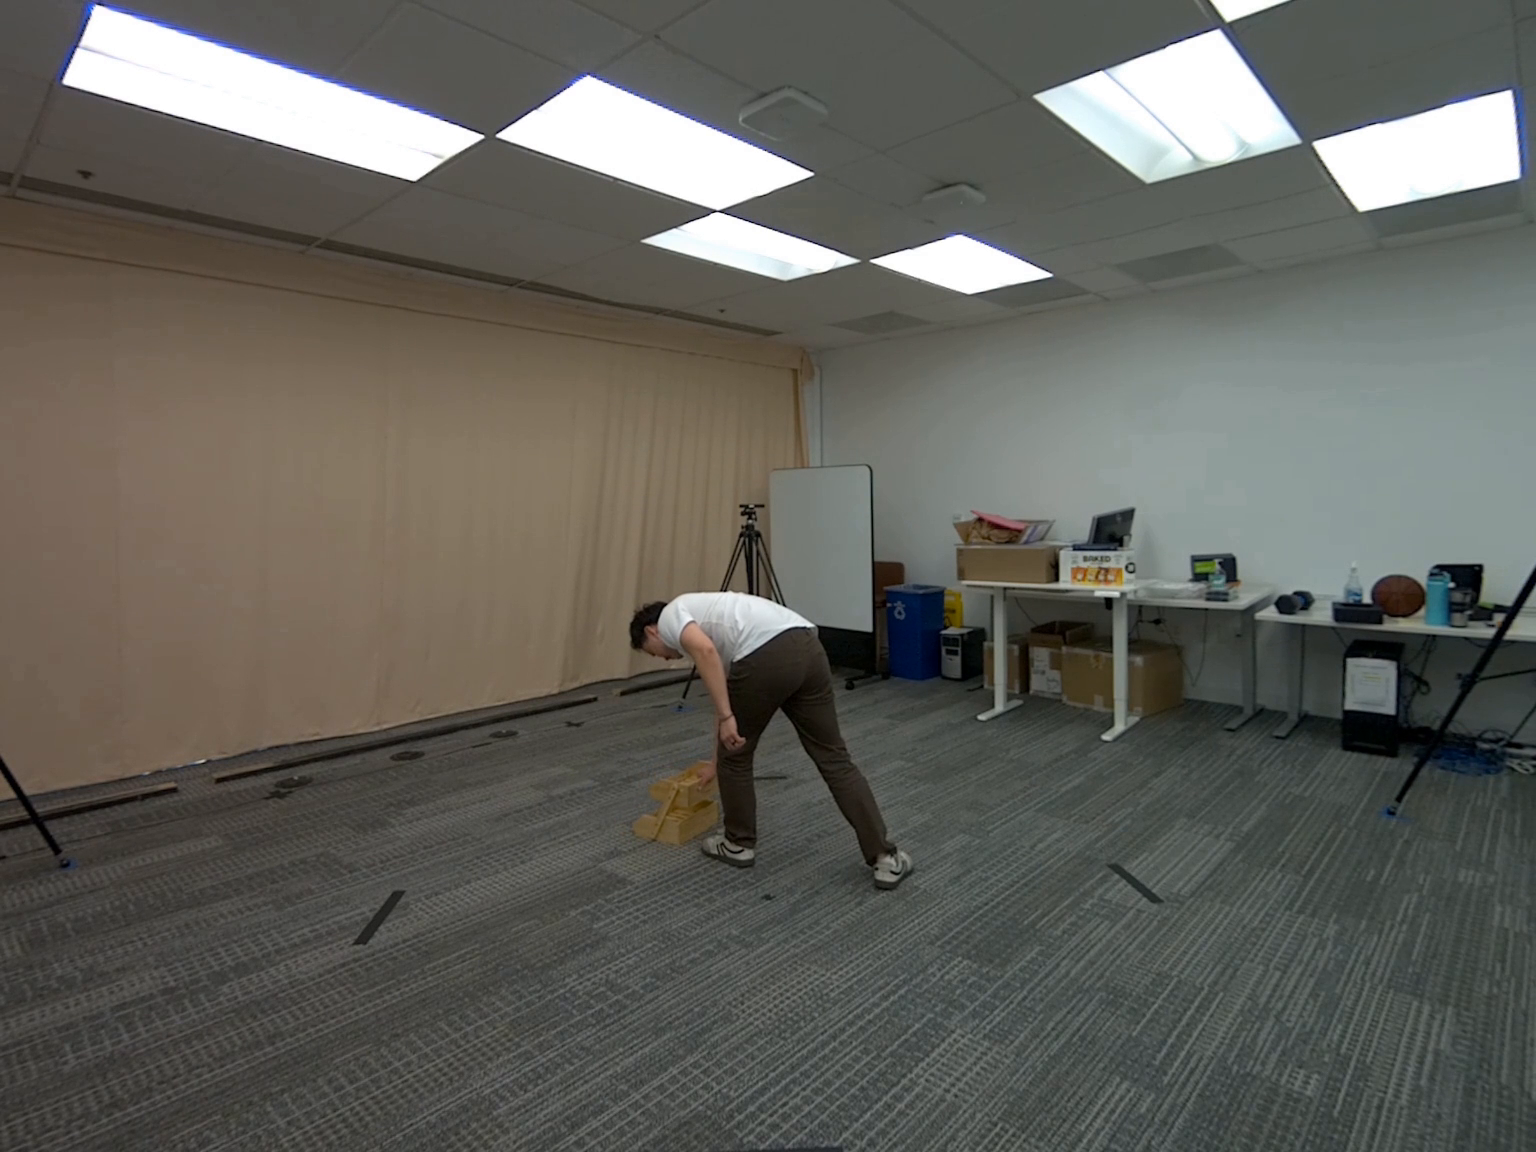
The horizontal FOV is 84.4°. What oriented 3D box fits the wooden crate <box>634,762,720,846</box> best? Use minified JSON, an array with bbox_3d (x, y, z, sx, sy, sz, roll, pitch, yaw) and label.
[{"bbox_3d":[-0.379,0.960,3.628,0.311,0.273,0.316,2,5,32],"label":"wooden crate"}]
